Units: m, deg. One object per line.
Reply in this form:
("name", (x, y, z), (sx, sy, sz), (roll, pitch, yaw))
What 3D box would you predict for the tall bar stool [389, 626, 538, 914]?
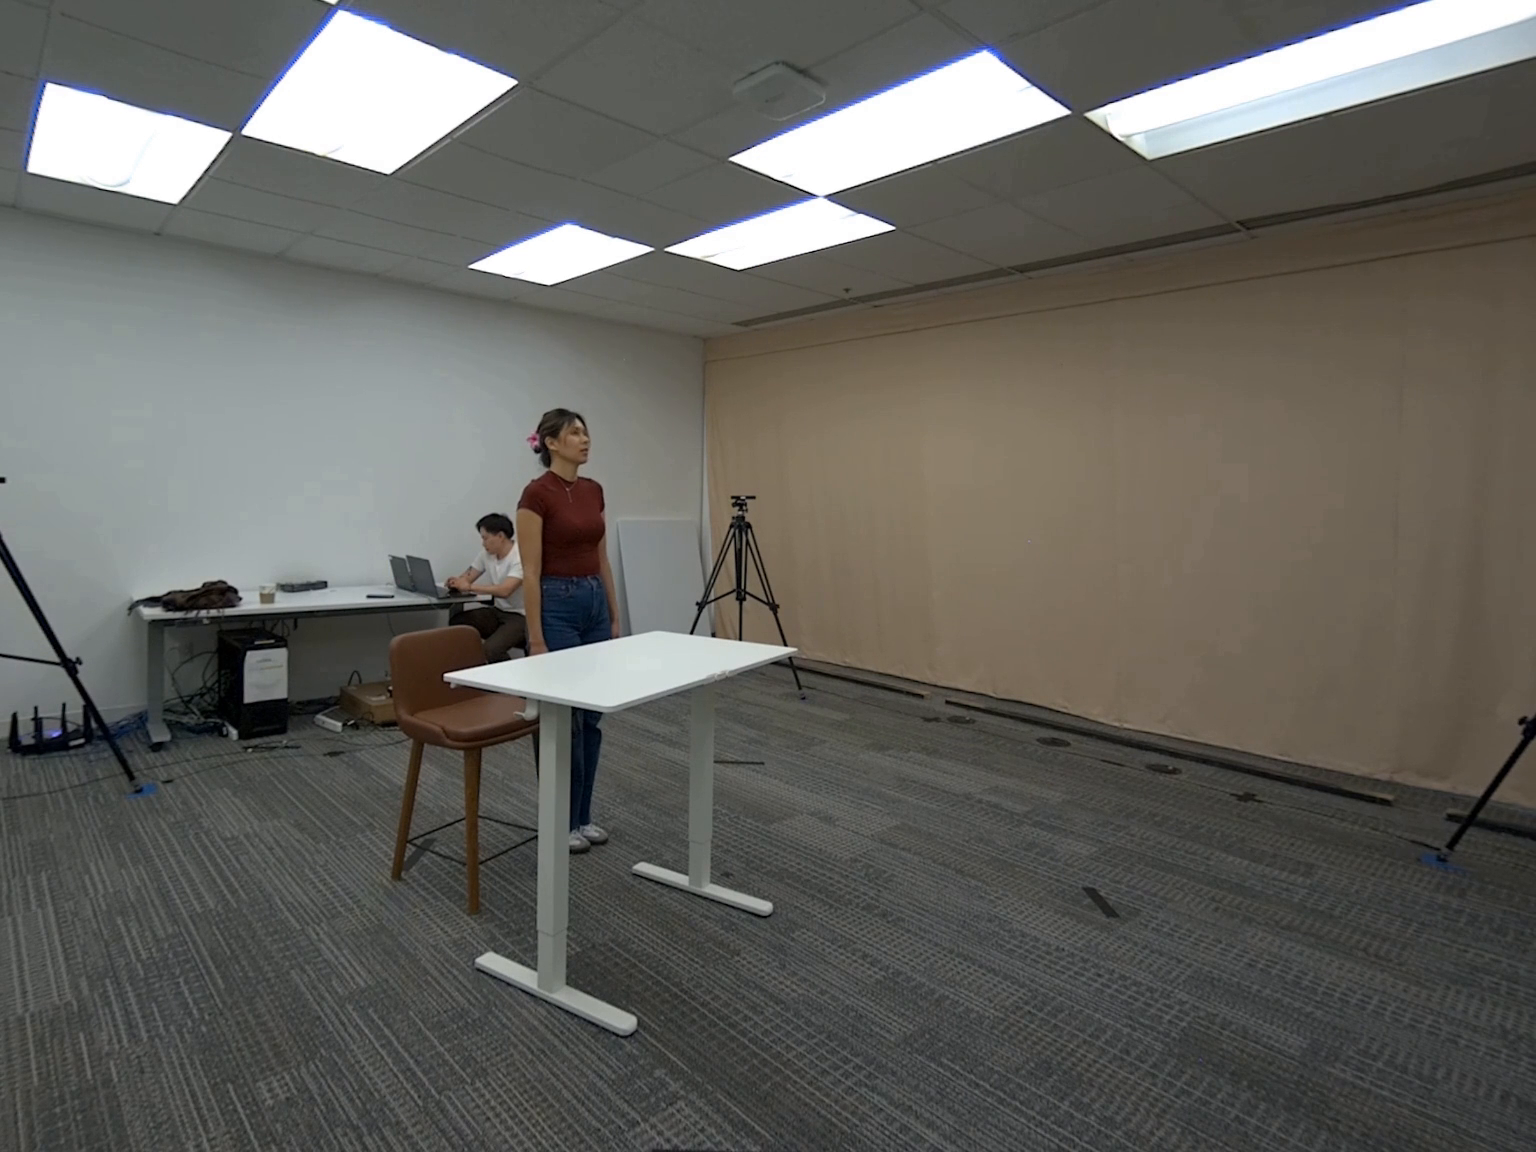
("tall bar stool", (-1.065, 0.655, 3.024), (0.478, 0.888, 0.447), (1, 3, 31))
